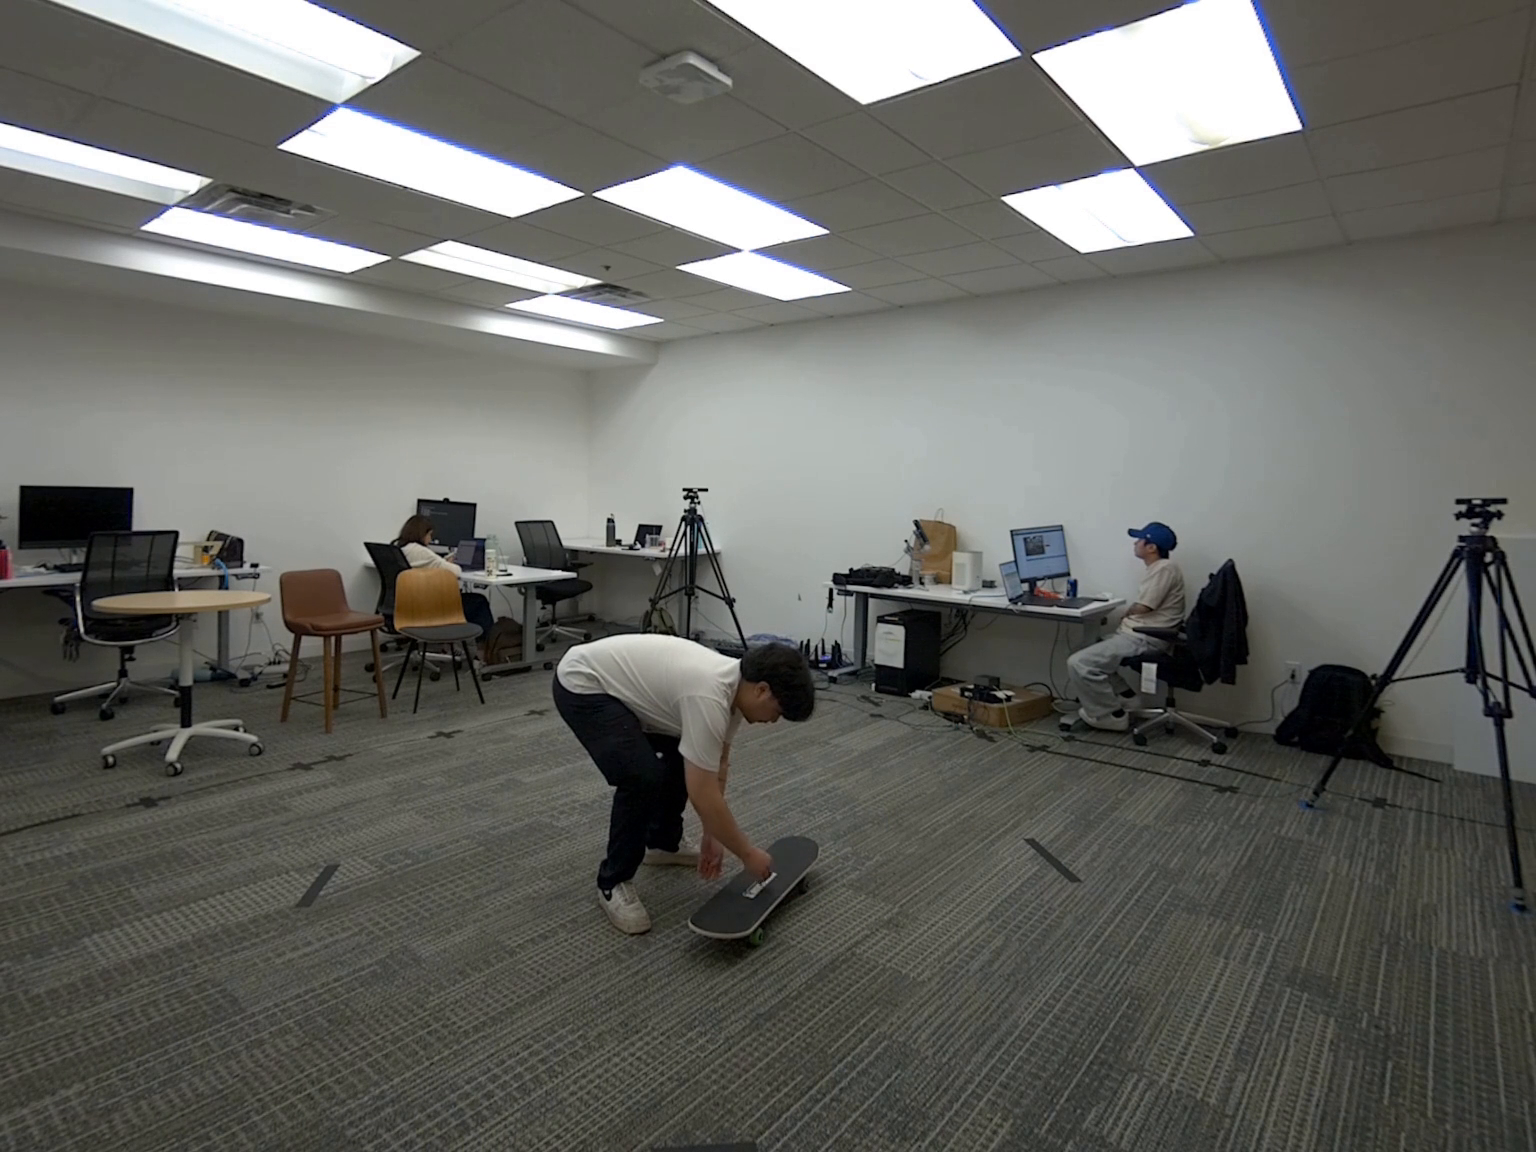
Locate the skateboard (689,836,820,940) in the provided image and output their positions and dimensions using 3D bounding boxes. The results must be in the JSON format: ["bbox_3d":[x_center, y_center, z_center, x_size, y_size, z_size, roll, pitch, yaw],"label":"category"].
[{"bbox_3d":[-0.038,1.041,2.809,0.198,0.110,0.768,4,6,24],"label":"skateboard"}]
